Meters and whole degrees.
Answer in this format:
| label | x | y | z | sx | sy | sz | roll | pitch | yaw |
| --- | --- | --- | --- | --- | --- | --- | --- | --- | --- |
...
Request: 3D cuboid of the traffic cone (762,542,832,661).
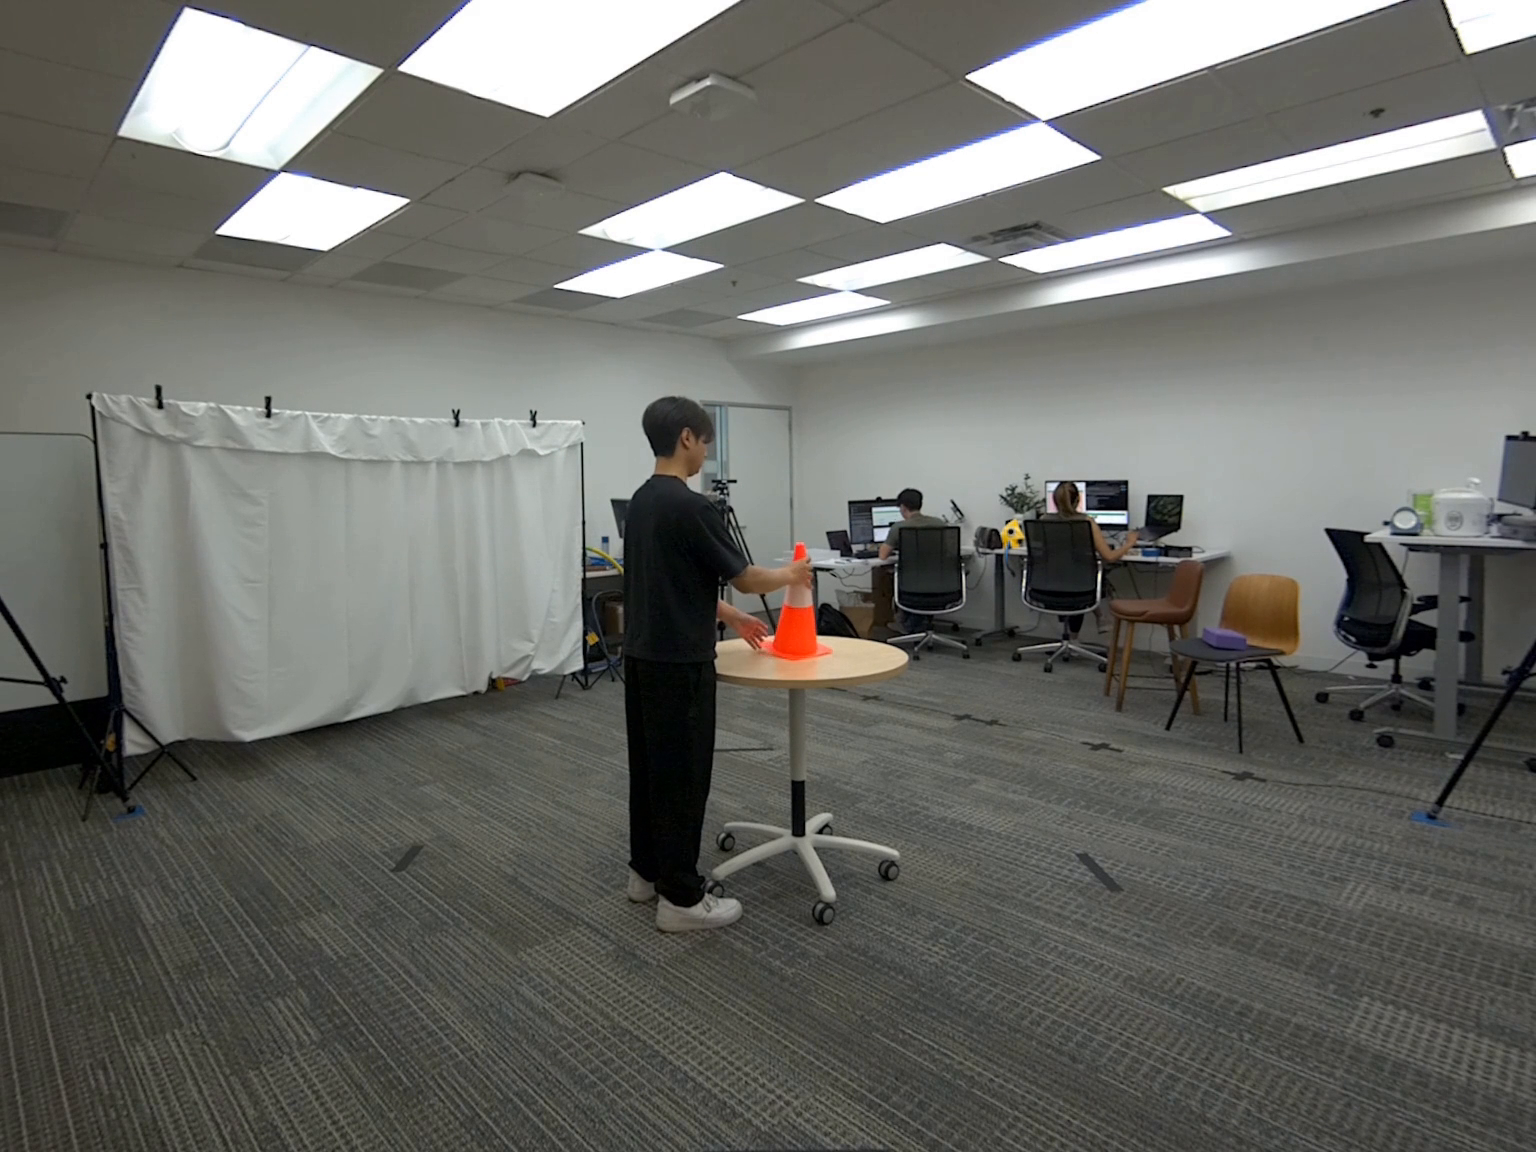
| label | x | y | z | sx | sy | sz | roll | pitch | yaw |
| --- | --- | --- | --- | --- | --- | --- | --- | --- | --- |
| traffic cone | 0.110 | 0.077 | 2.968 | 0.210 | 0.379 | 0.200 | 12 | 17 | 41 |
